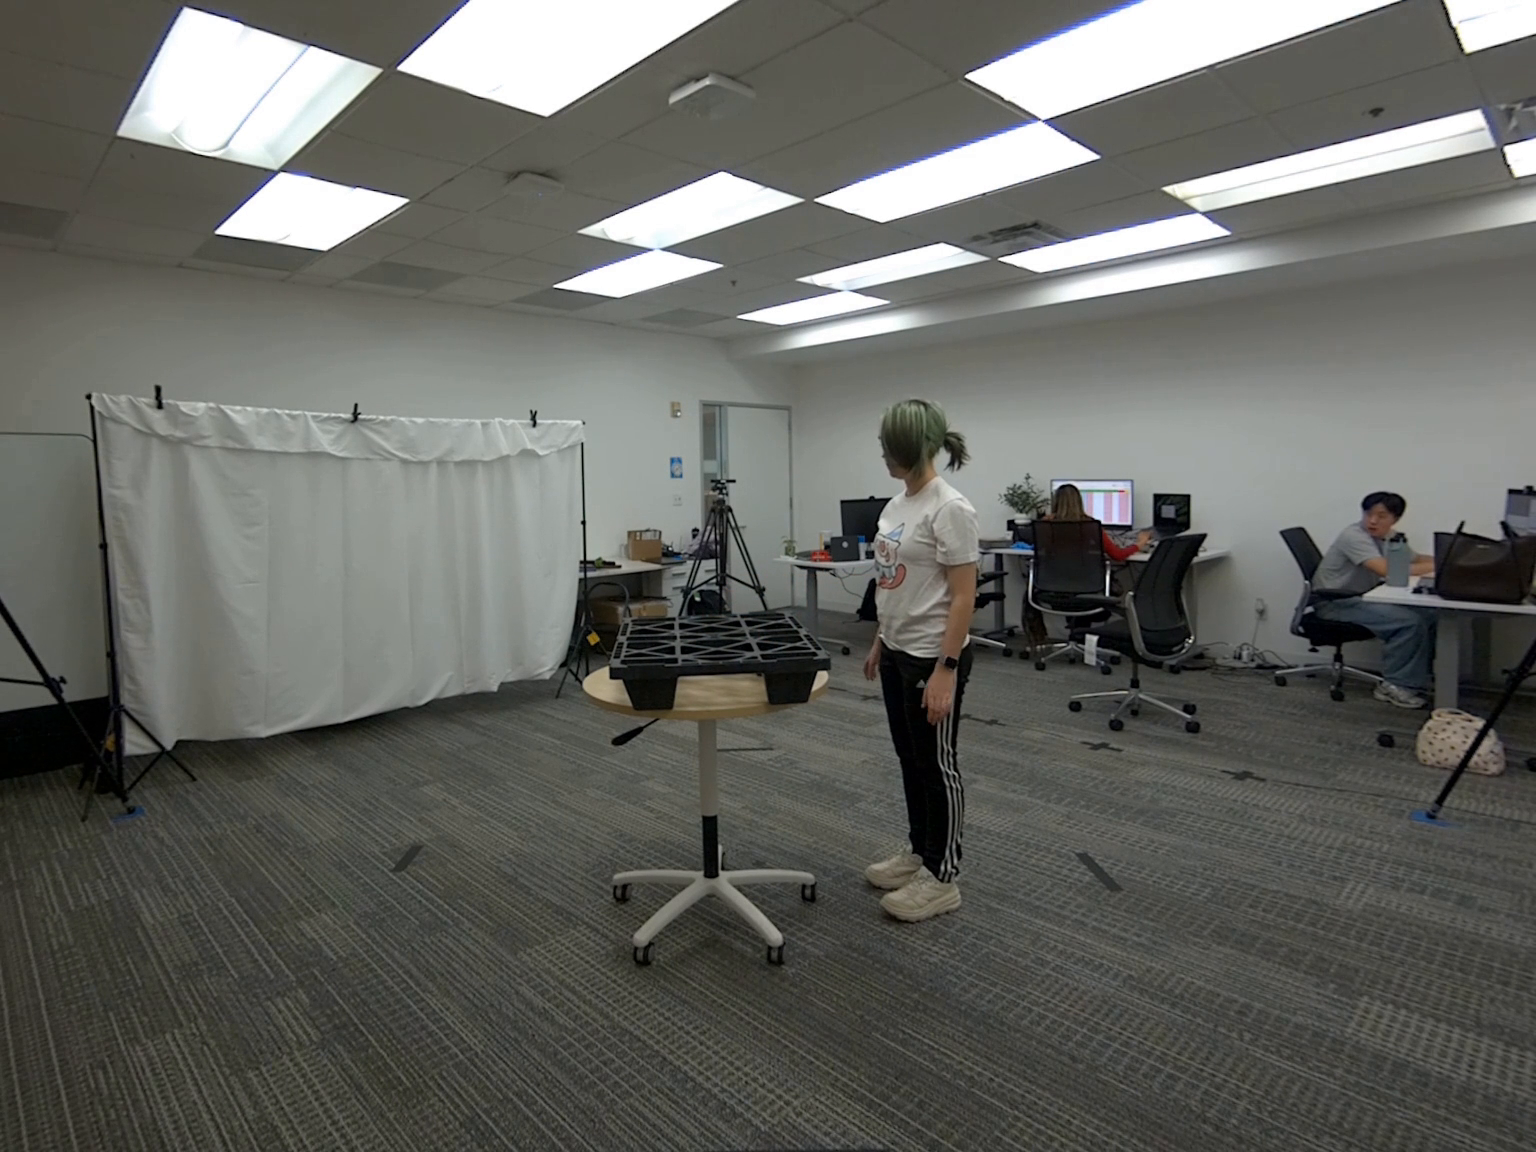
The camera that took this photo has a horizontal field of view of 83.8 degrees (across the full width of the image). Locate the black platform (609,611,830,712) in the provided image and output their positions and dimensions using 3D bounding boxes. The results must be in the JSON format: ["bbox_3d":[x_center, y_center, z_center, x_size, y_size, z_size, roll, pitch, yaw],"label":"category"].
[{"bbox_3d":[-0.163,0.249,2.676,0.603,0.142,0.813,-2,7,-5],"label":"black platform"}]
